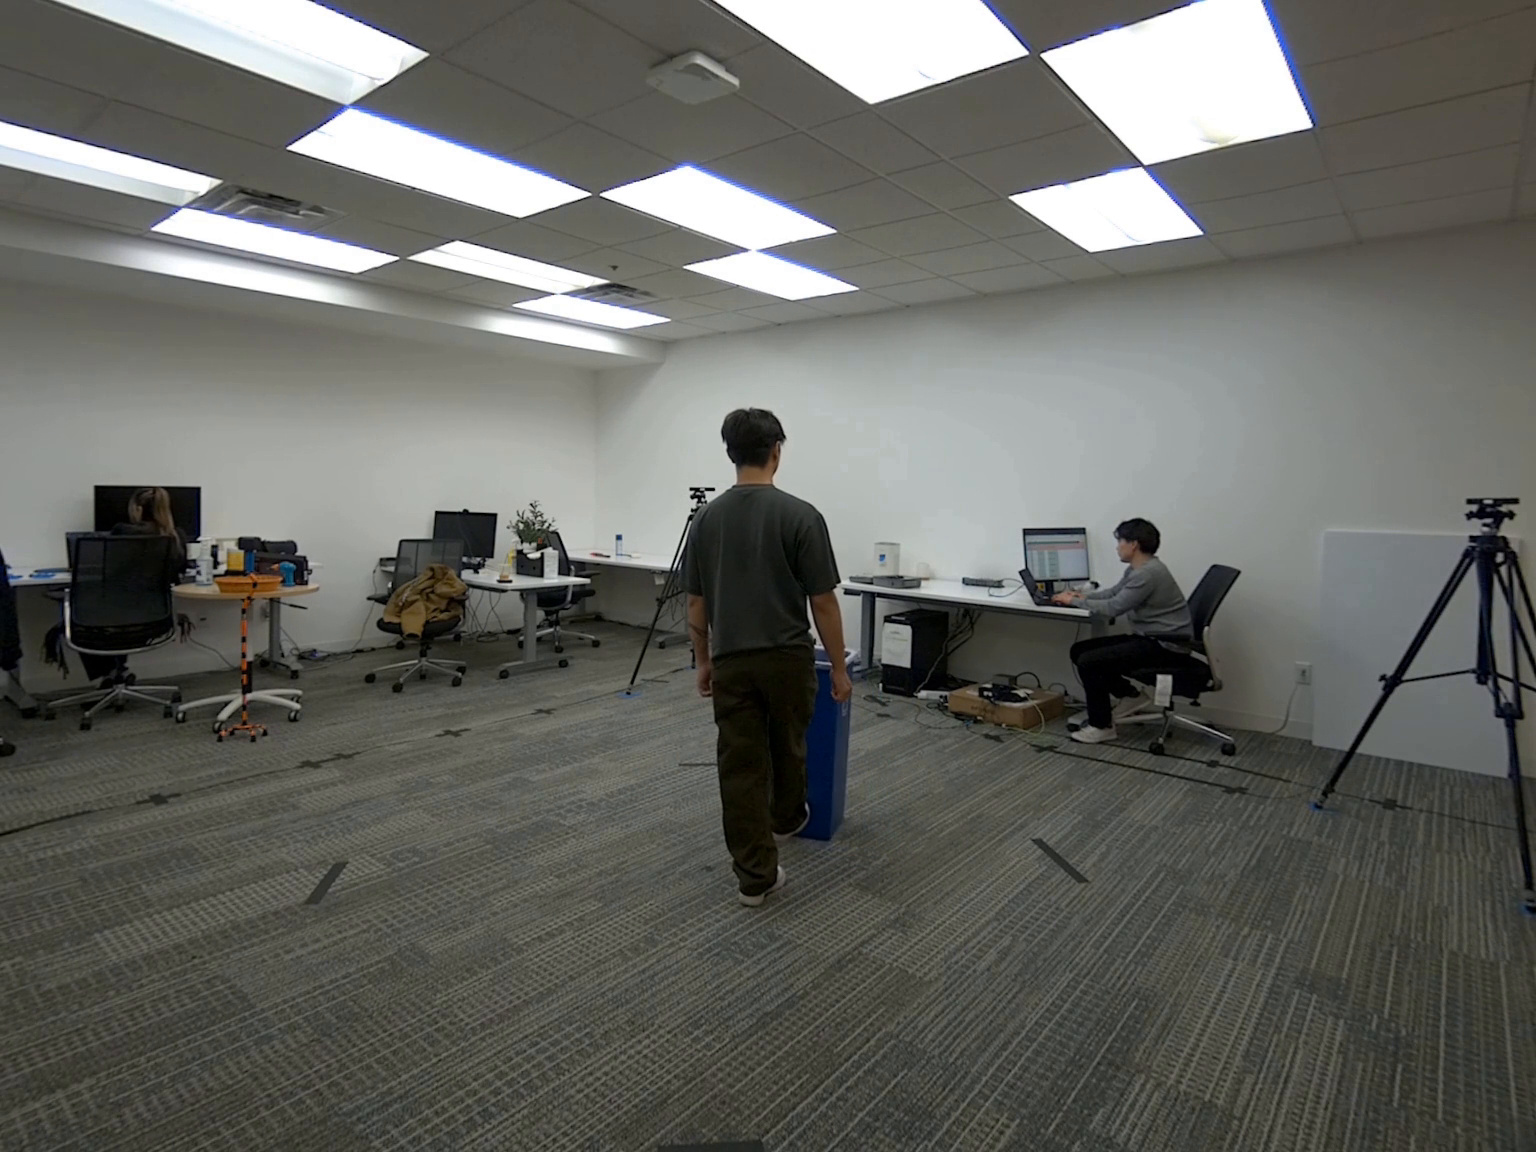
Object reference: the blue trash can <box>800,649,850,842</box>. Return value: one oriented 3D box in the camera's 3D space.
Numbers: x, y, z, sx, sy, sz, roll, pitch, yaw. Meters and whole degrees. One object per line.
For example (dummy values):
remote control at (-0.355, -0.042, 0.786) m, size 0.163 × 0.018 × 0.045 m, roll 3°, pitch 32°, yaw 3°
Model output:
blue trash can at (0.139, 0.671, 3.544) m, size 0.381 × 0.712 × 0.372 m, roll 3°, pitch 3°, yaw 17°
